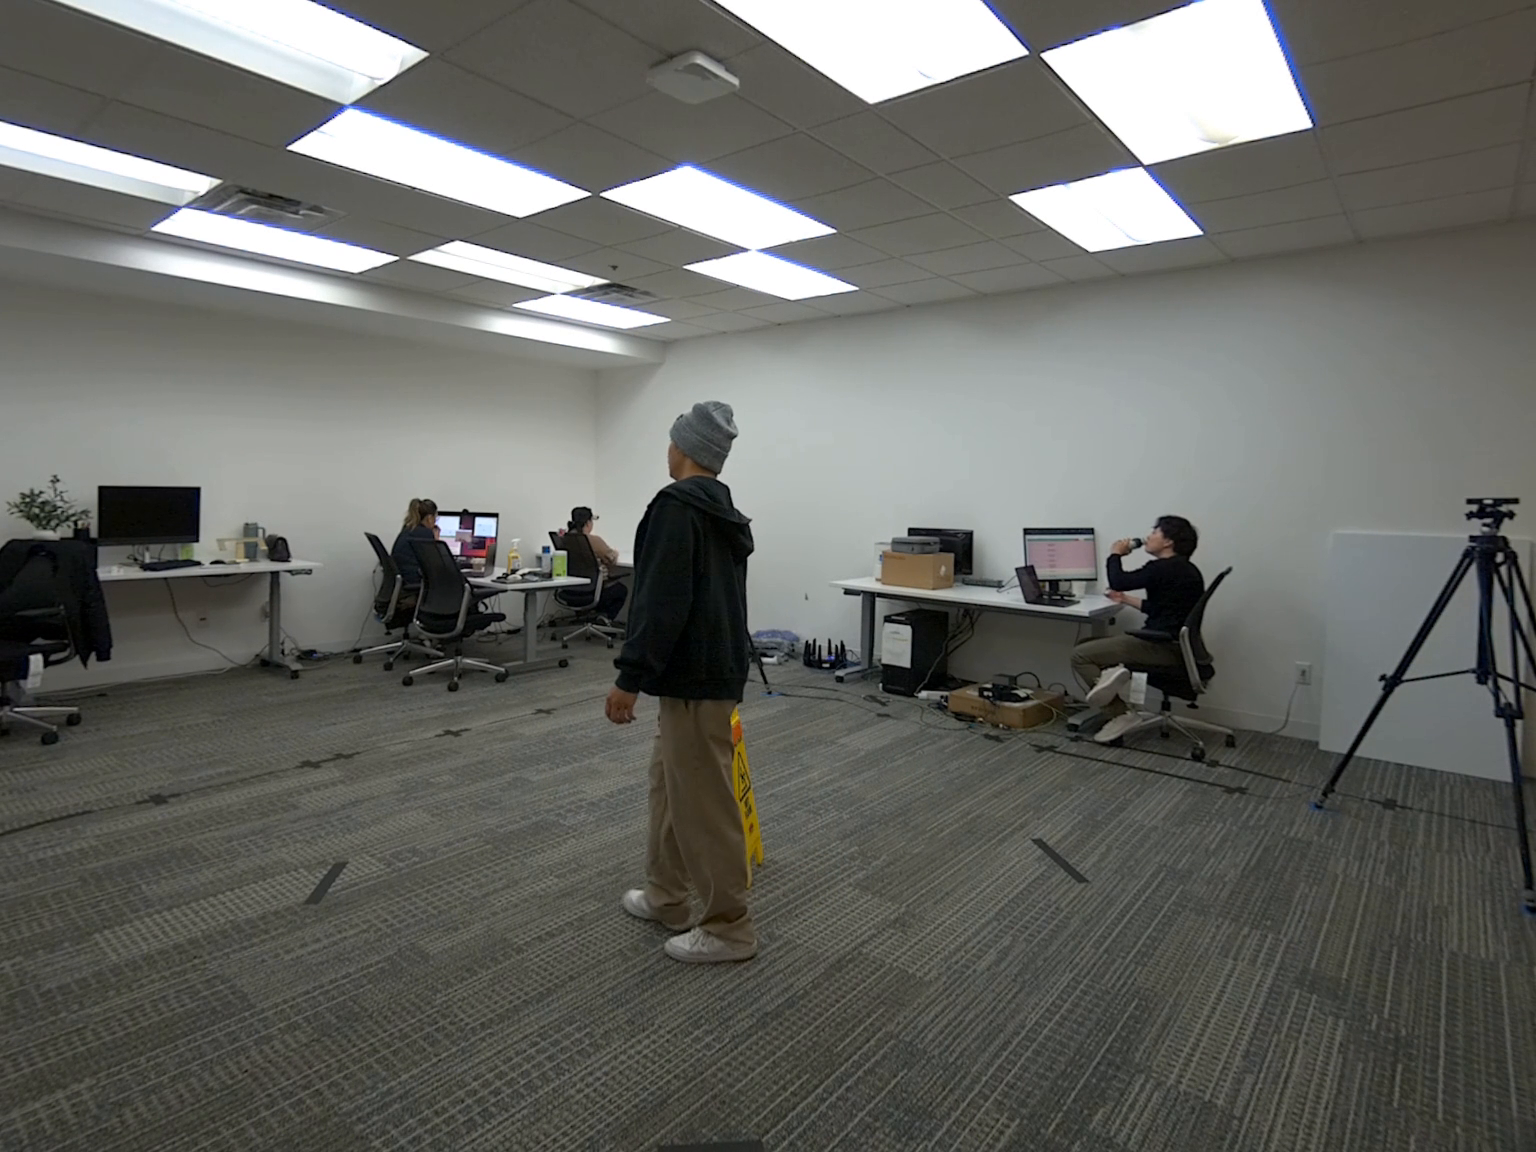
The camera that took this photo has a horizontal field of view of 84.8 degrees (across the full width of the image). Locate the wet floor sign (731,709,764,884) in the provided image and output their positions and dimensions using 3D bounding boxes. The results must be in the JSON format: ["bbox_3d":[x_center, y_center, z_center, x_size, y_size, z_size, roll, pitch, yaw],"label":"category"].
[{"bbox_3d":[-0.165,0.743,3.094,0.294,0.644,0.279,2,4,11],"label":"wet floor sign"}]
